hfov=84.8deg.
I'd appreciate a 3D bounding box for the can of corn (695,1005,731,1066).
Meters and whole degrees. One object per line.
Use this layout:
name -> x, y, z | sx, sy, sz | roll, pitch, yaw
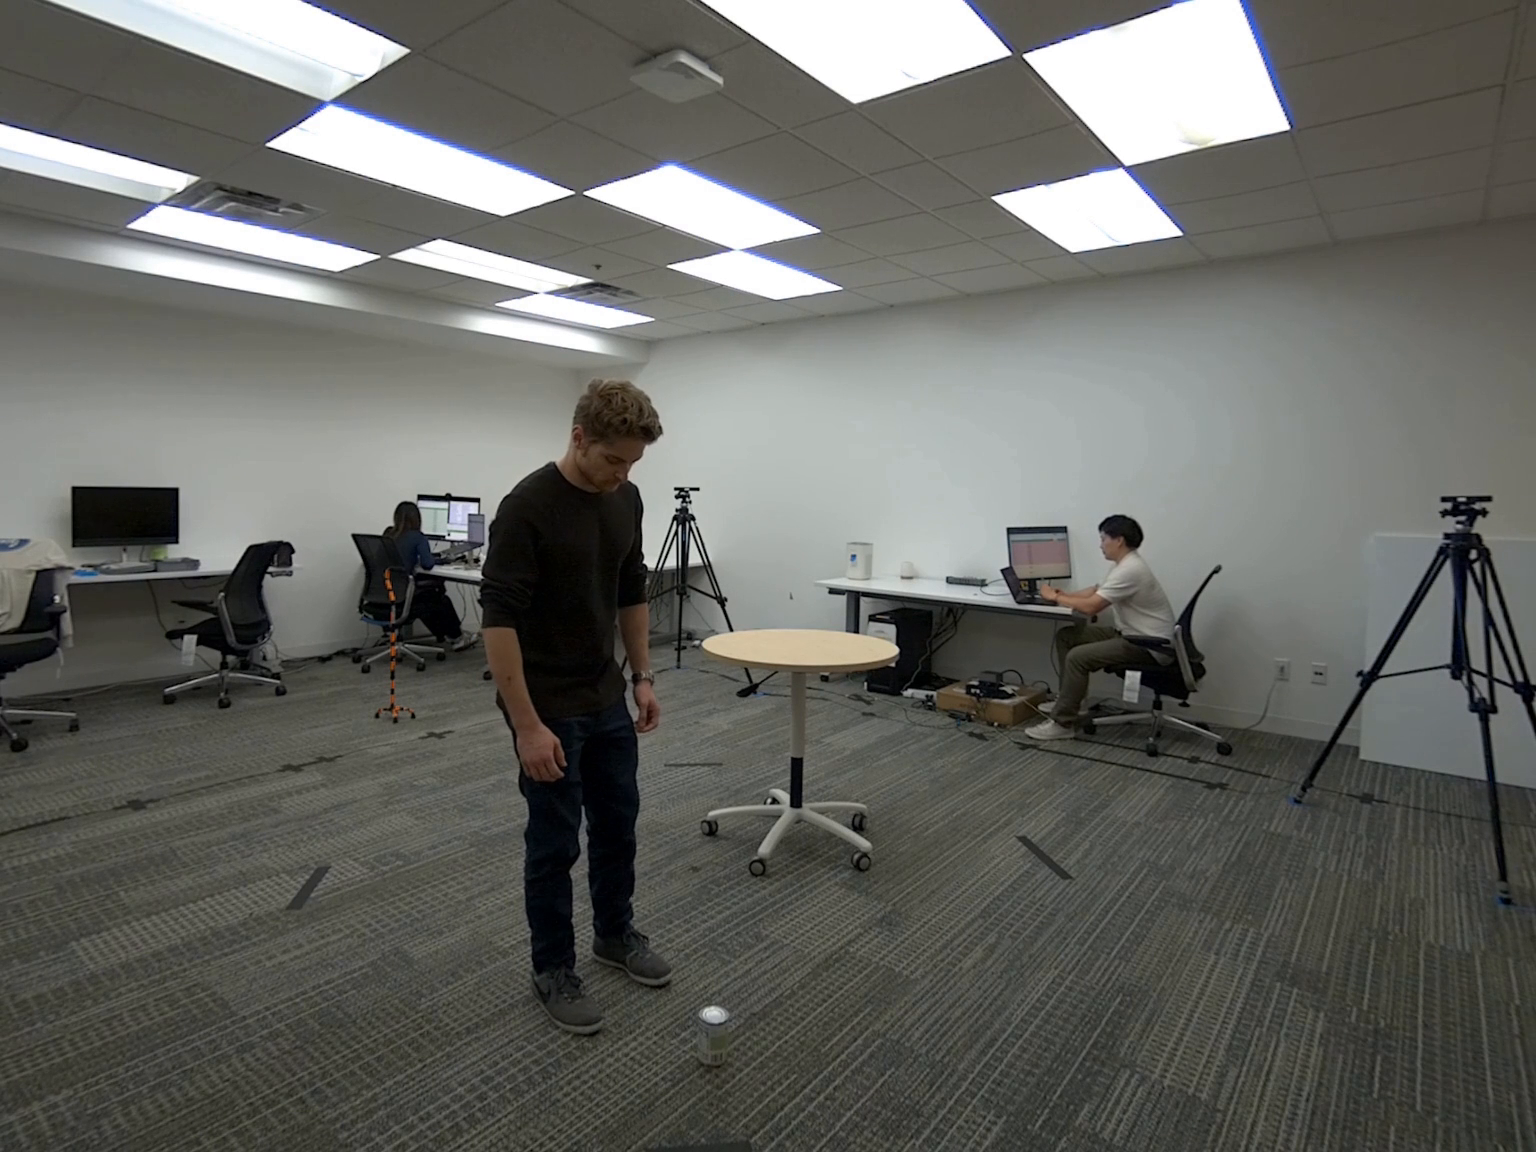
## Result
can of corn -> -0.141, 1.120, 2.070 | 0.074, 0.110, 0.075 | 2, 11, -2
